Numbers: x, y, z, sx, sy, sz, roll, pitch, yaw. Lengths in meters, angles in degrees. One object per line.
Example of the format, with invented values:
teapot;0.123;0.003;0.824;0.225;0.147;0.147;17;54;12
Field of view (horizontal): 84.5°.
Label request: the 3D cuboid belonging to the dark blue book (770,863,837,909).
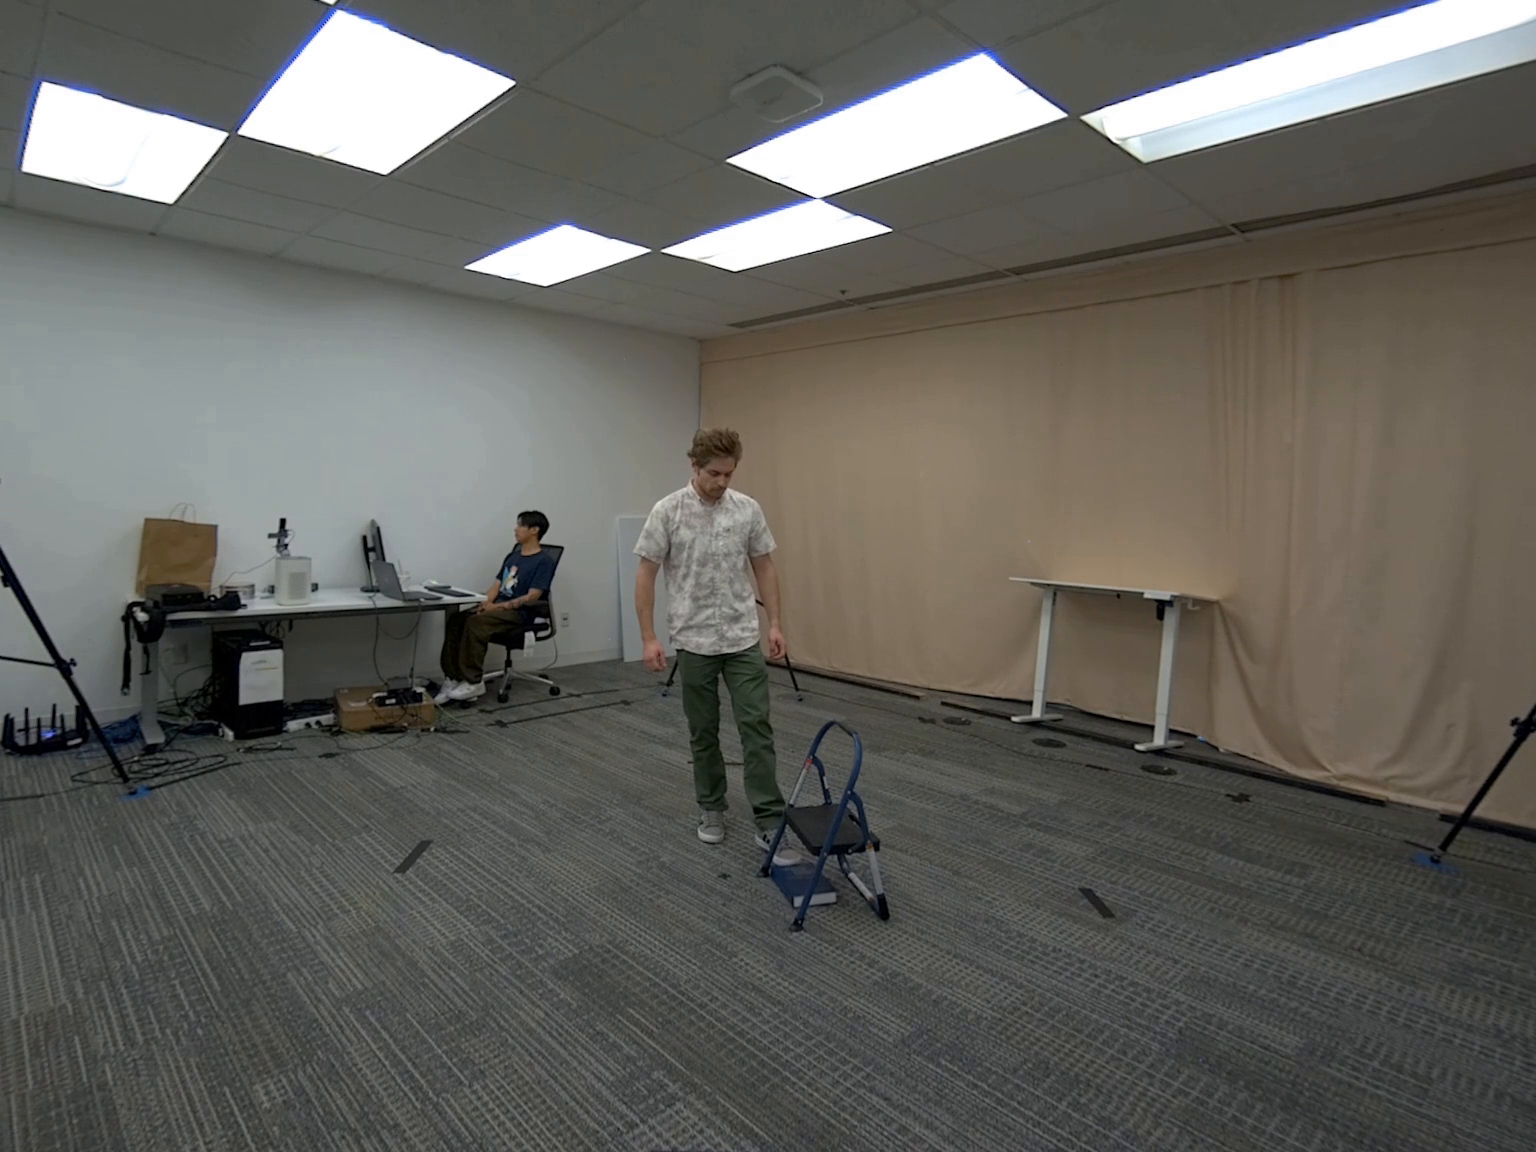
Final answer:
dark blue book;0.122;1.097;3.000;0.161;0.045;0.249;-1;5;-18
